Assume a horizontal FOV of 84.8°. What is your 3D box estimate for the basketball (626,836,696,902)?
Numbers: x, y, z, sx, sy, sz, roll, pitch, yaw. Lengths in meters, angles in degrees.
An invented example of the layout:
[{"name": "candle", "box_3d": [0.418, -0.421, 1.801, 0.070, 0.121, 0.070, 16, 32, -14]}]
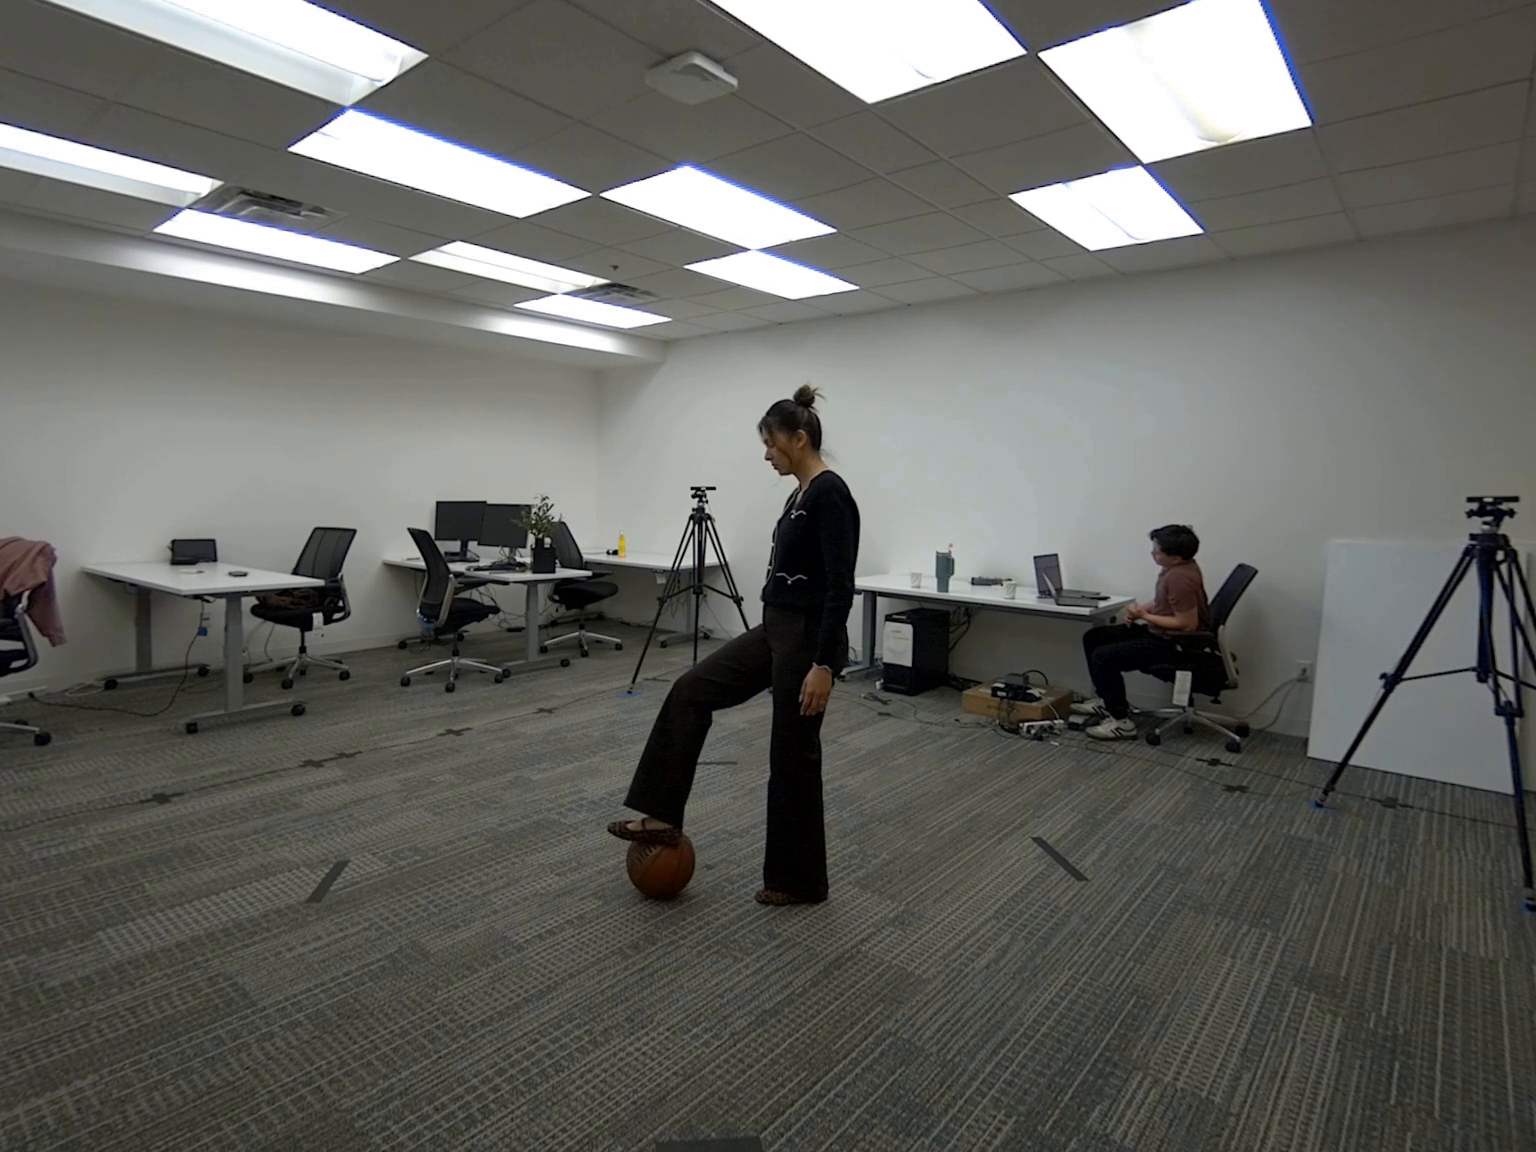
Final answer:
[{"name": "basketball", "box_3d": [-0.371, 0.967, 2.905, 0.235, 0.235, 0.237, 1, 4, -2]}]
